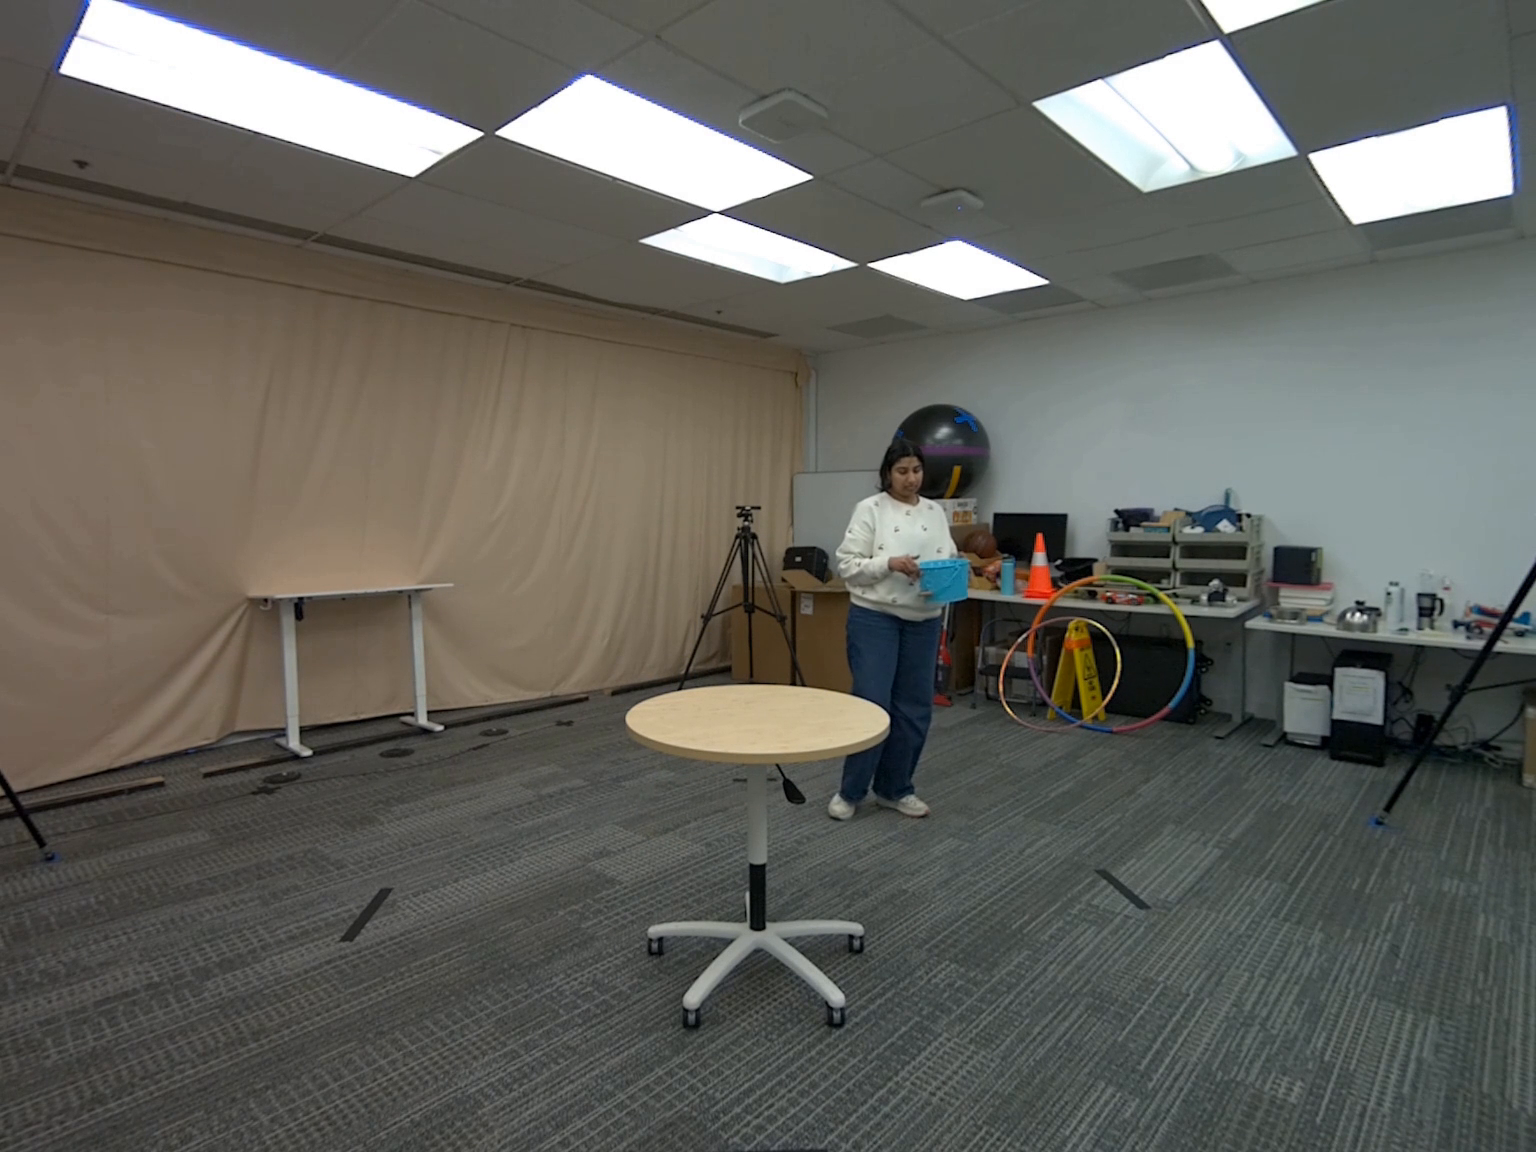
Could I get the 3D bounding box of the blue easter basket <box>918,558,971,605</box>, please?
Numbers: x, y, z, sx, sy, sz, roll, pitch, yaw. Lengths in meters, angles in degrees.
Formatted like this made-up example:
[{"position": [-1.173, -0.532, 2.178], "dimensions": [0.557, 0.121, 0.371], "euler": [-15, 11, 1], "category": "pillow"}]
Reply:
[{"position": [0.735, 0.023, 3.544], "dimensions": [0.243, 0.155, 0.244], "euler": [-5, 5, -1], "category": "blue easter basket"}]
